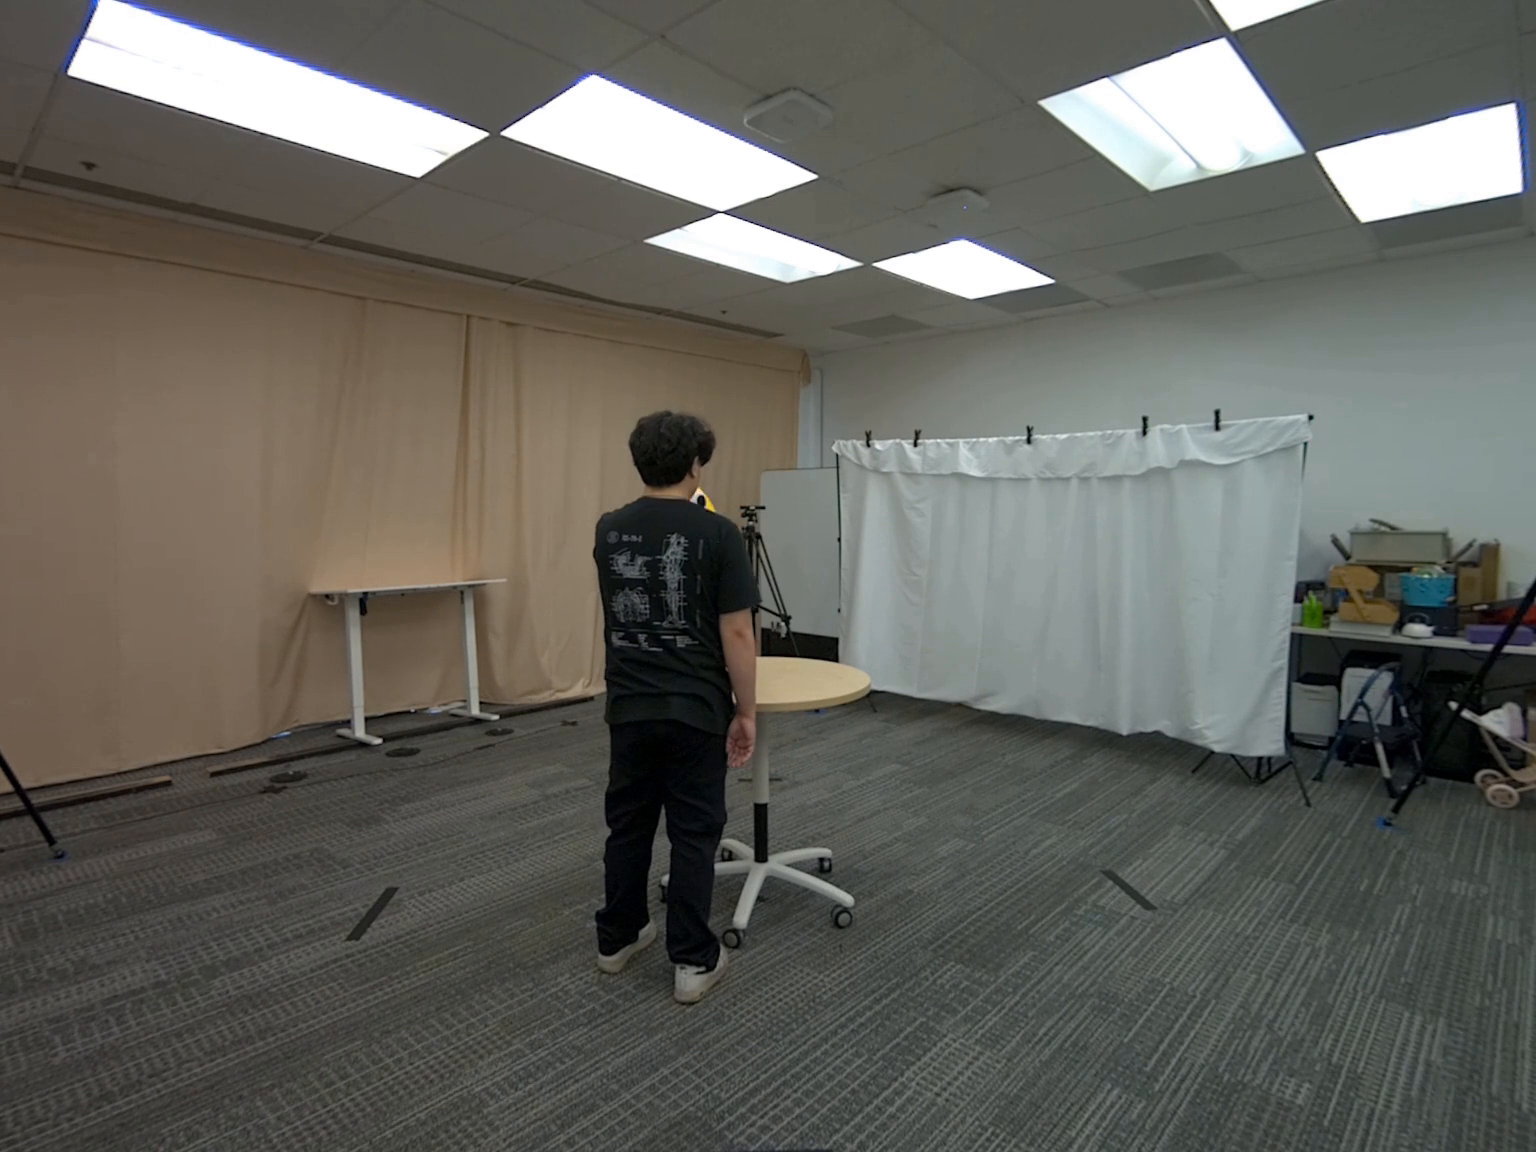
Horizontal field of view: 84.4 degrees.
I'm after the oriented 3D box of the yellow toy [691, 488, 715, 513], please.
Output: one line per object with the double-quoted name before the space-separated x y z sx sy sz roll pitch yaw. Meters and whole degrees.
"yellow toy" -0.280 -0.265 3.046 0.190 0.229 0.210 -8 10 -19
